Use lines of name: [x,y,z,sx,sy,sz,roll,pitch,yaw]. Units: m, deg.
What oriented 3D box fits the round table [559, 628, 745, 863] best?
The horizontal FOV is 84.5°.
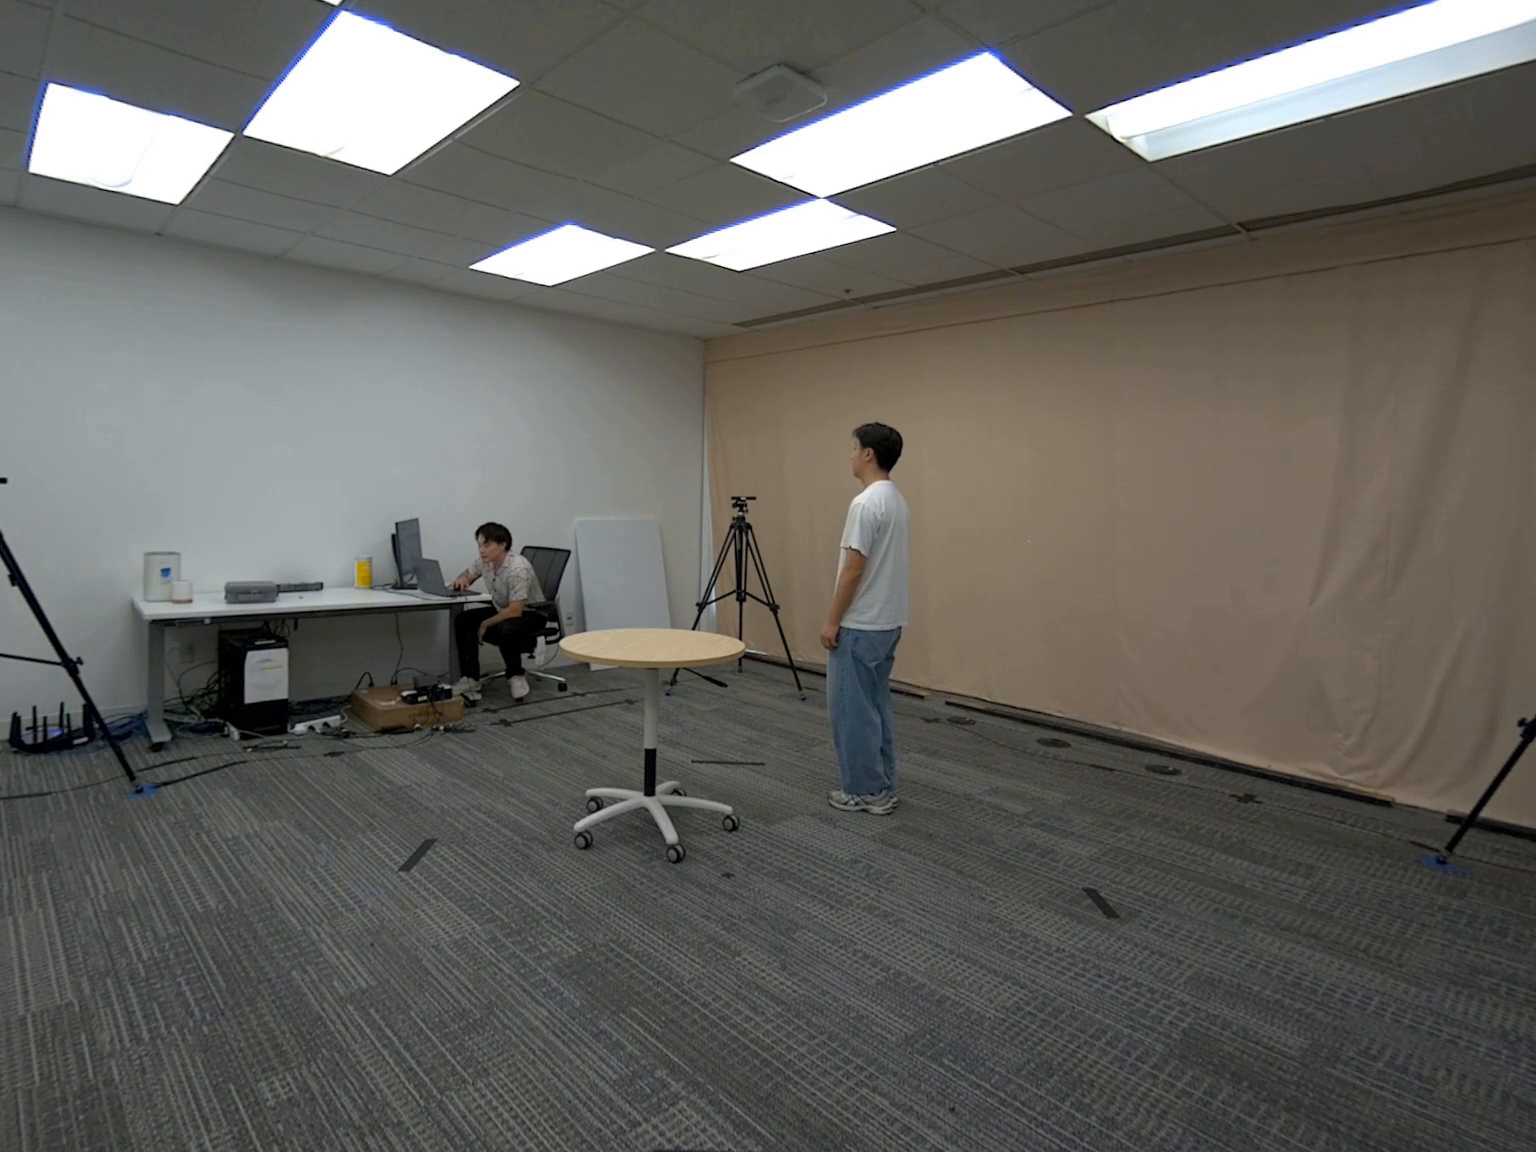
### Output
round table: [-0.496,0.673,3.510,0.763,0.792,0.766,1,4,-1]
